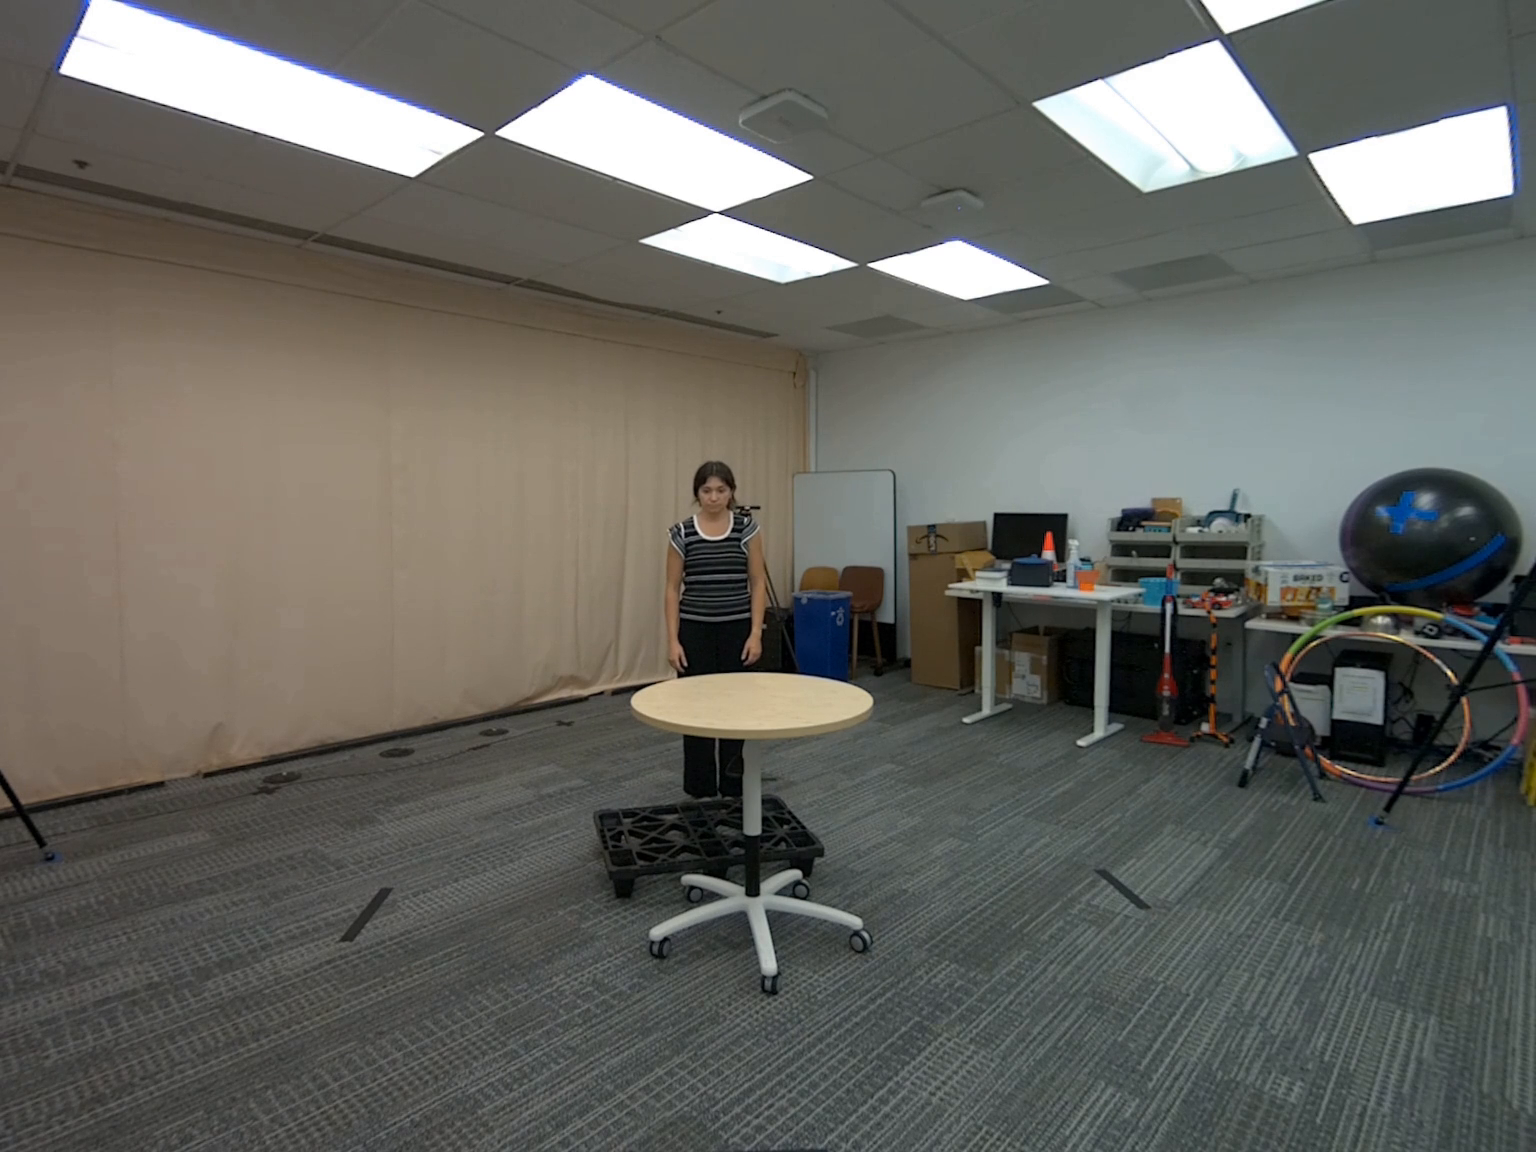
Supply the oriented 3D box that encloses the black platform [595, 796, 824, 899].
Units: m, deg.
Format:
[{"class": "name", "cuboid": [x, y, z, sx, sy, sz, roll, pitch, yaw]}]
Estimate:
[{"class": "black platform", "cuboid": [-0.246, 1.049, 3.294, 0.793, 0.143, 0.616, -2, 6, -15]}]
